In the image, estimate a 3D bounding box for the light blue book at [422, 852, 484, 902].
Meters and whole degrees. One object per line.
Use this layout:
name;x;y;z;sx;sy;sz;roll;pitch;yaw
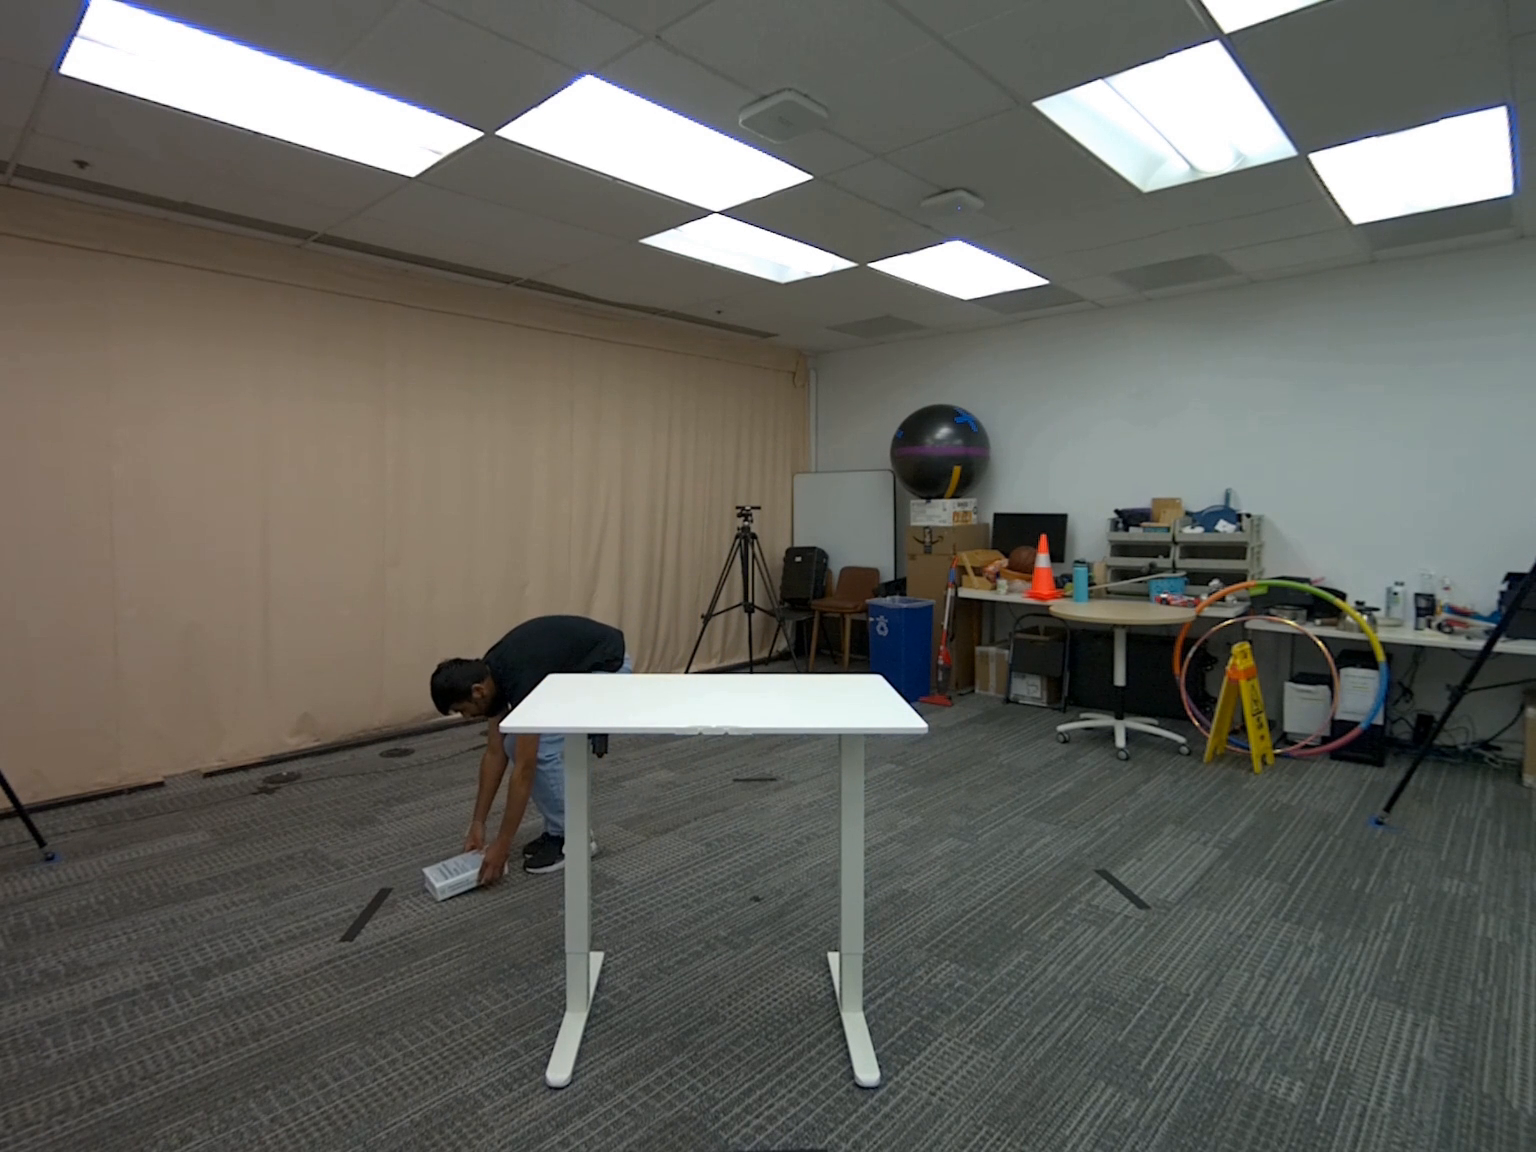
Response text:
light blue book;-1.136;1.089;3.116;0.254;0.059;0.197;-12;7;-38
